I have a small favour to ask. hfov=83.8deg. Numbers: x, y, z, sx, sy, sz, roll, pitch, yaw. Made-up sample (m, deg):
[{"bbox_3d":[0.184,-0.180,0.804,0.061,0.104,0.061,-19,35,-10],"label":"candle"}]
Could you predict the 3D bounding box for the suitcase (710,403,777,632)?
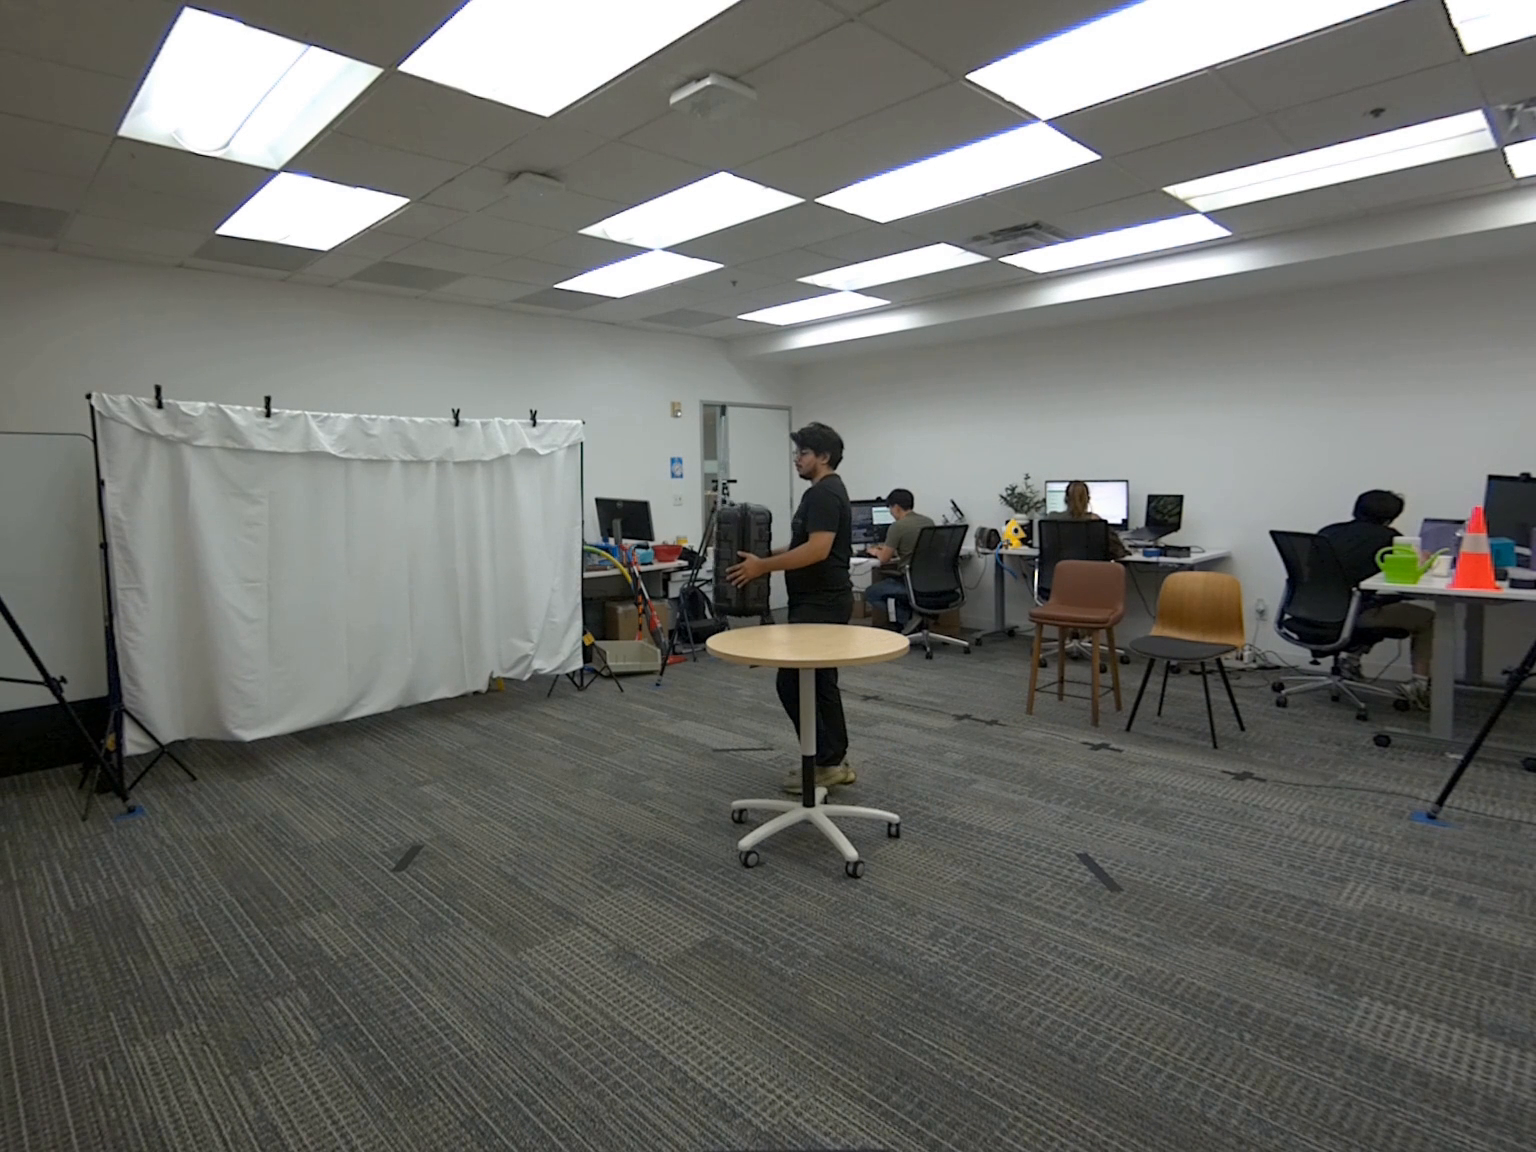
[{"bbox_3d":[-0.109,-0.277,3.887,0.258,0.974,0.385,2,6,2],"label":"suitcase"}]
